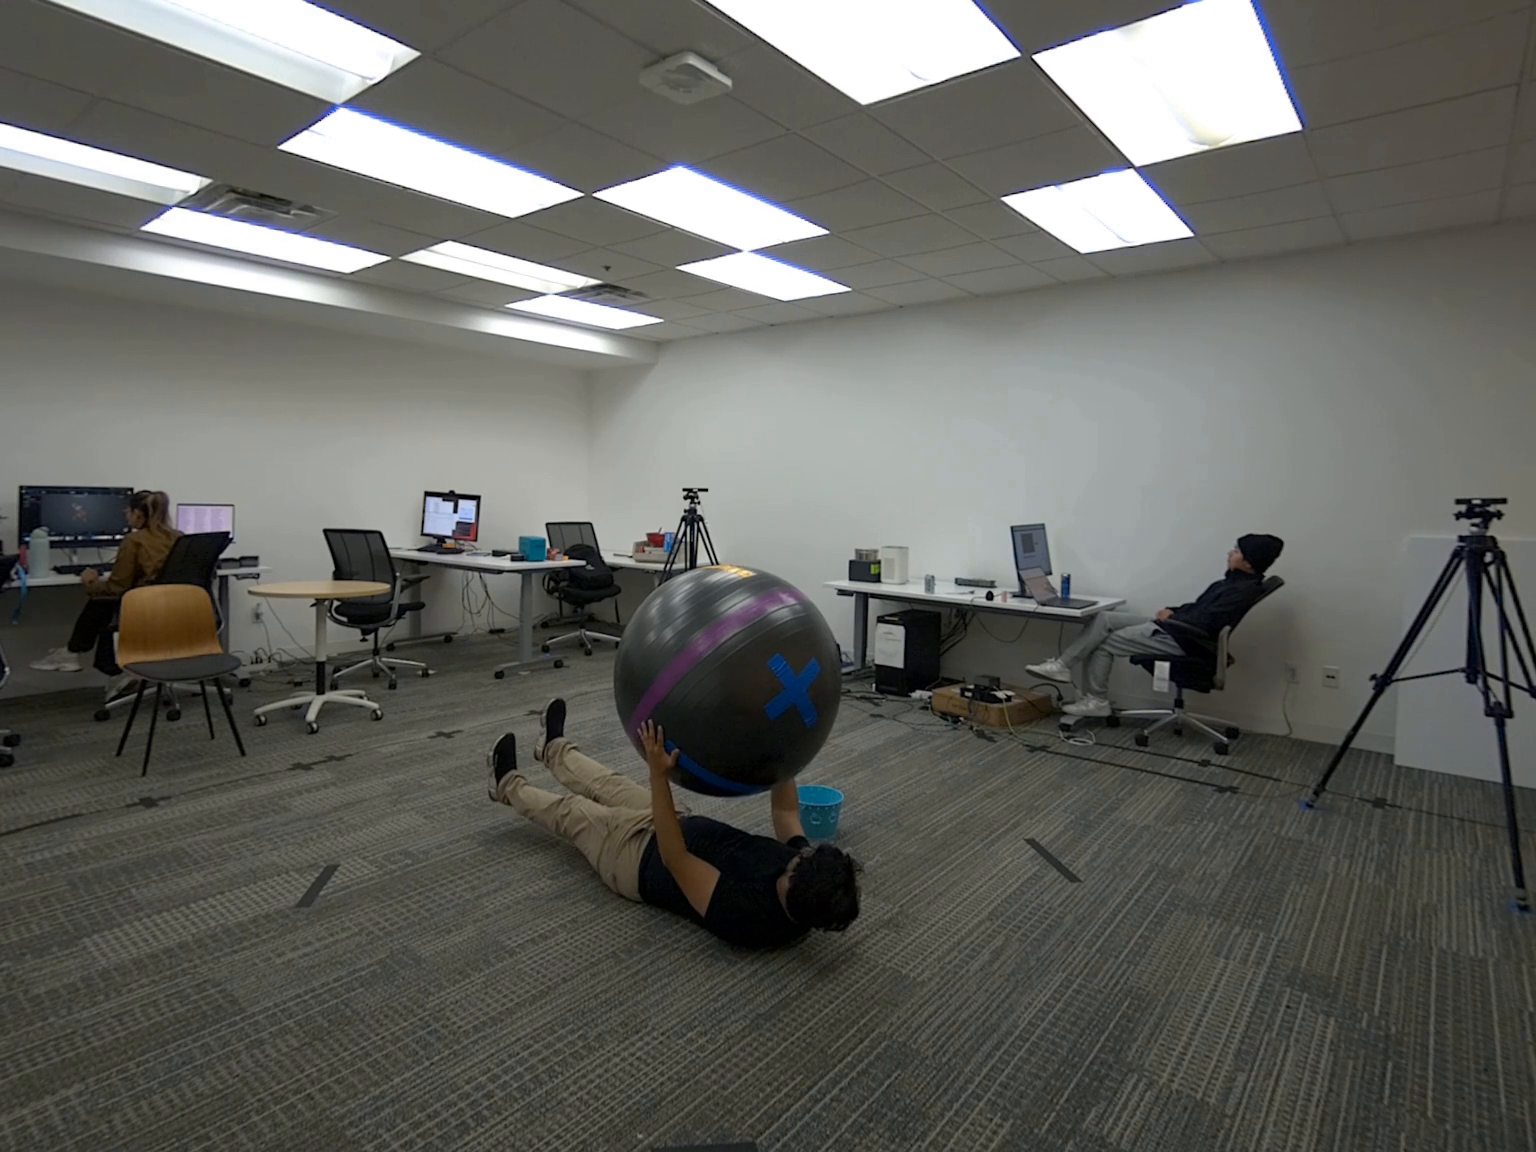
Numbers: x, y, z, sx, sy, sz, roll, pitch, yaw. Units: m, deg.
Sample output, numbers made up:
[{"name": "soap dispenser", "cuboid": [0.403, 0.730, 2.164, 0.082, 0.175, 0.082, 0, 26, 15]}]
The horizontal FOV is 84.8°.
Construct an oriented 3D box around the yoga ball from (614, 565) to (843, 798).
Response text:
[{"name": "yoga ball", "cuboid": [-0.144, 0.345, 2.831, 0.757, 0.756, 0.761, 0, 4, -2]}]
